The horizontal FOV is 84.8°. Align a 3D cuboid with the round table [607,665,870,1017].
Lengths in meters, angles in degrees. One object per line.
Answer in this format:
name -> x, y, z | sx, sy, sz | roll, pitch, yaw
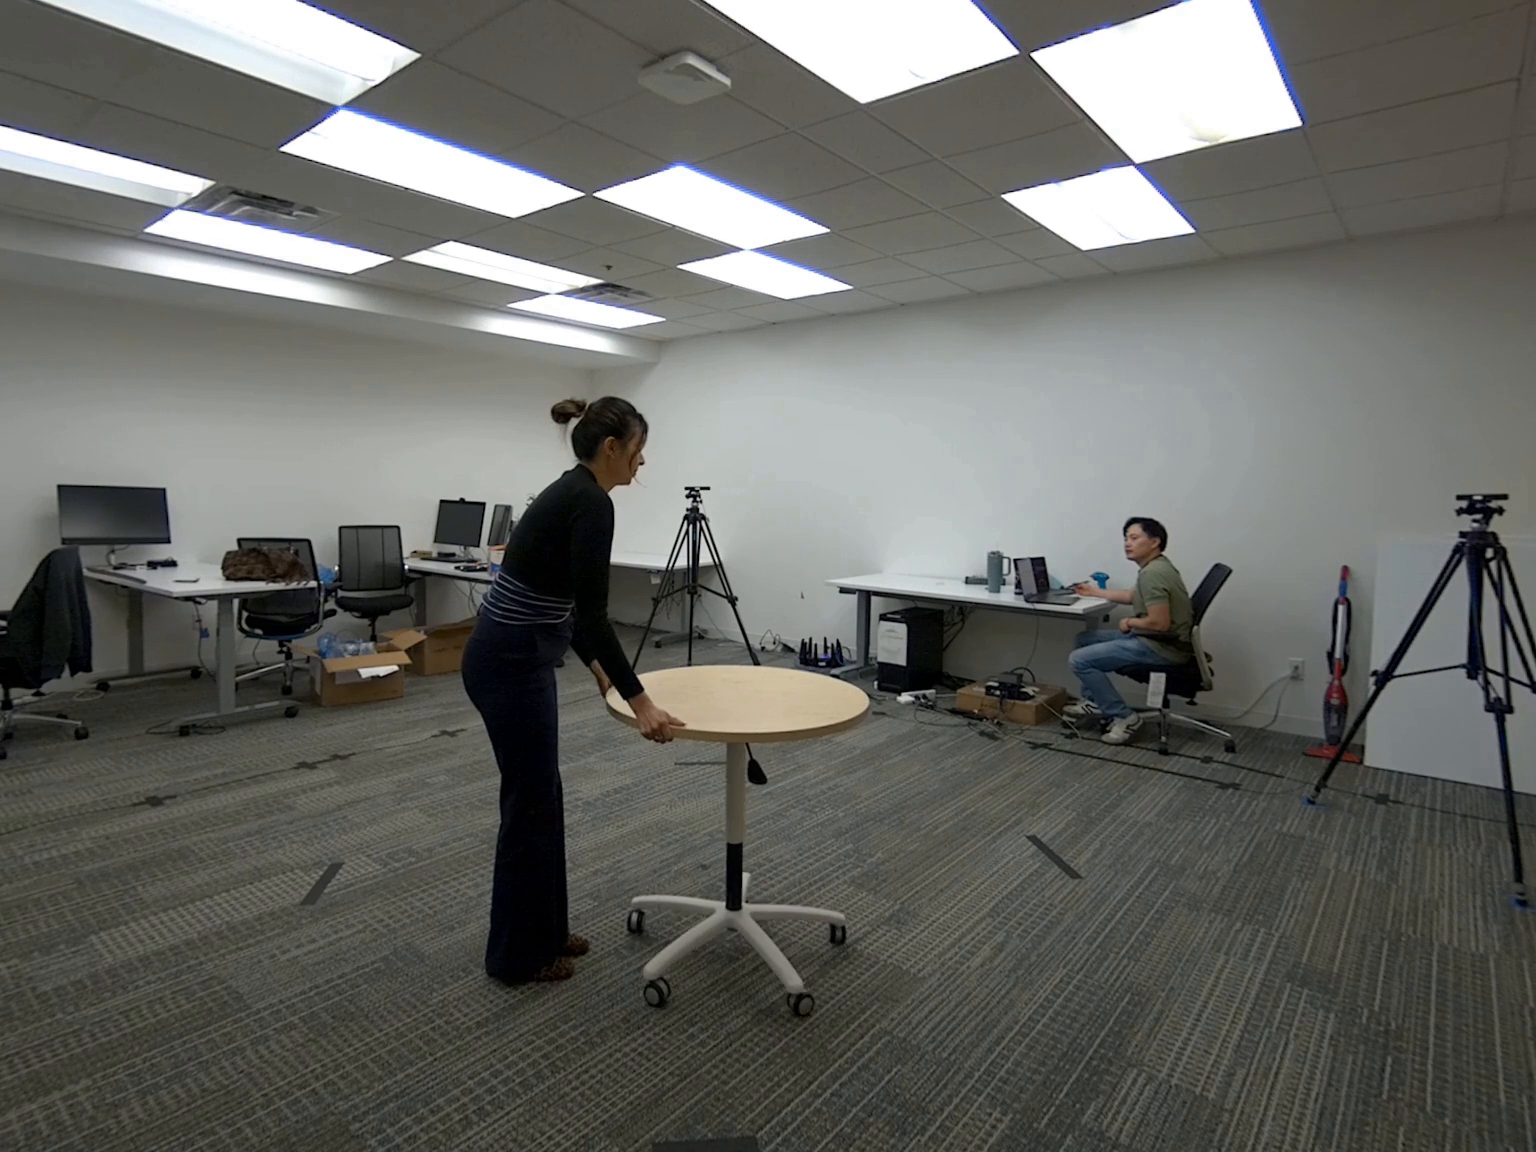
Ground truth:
round table -> -0.105, 0.739, 2.521 | 0.763, 0.791, 0.768 | 0, 5, -2
